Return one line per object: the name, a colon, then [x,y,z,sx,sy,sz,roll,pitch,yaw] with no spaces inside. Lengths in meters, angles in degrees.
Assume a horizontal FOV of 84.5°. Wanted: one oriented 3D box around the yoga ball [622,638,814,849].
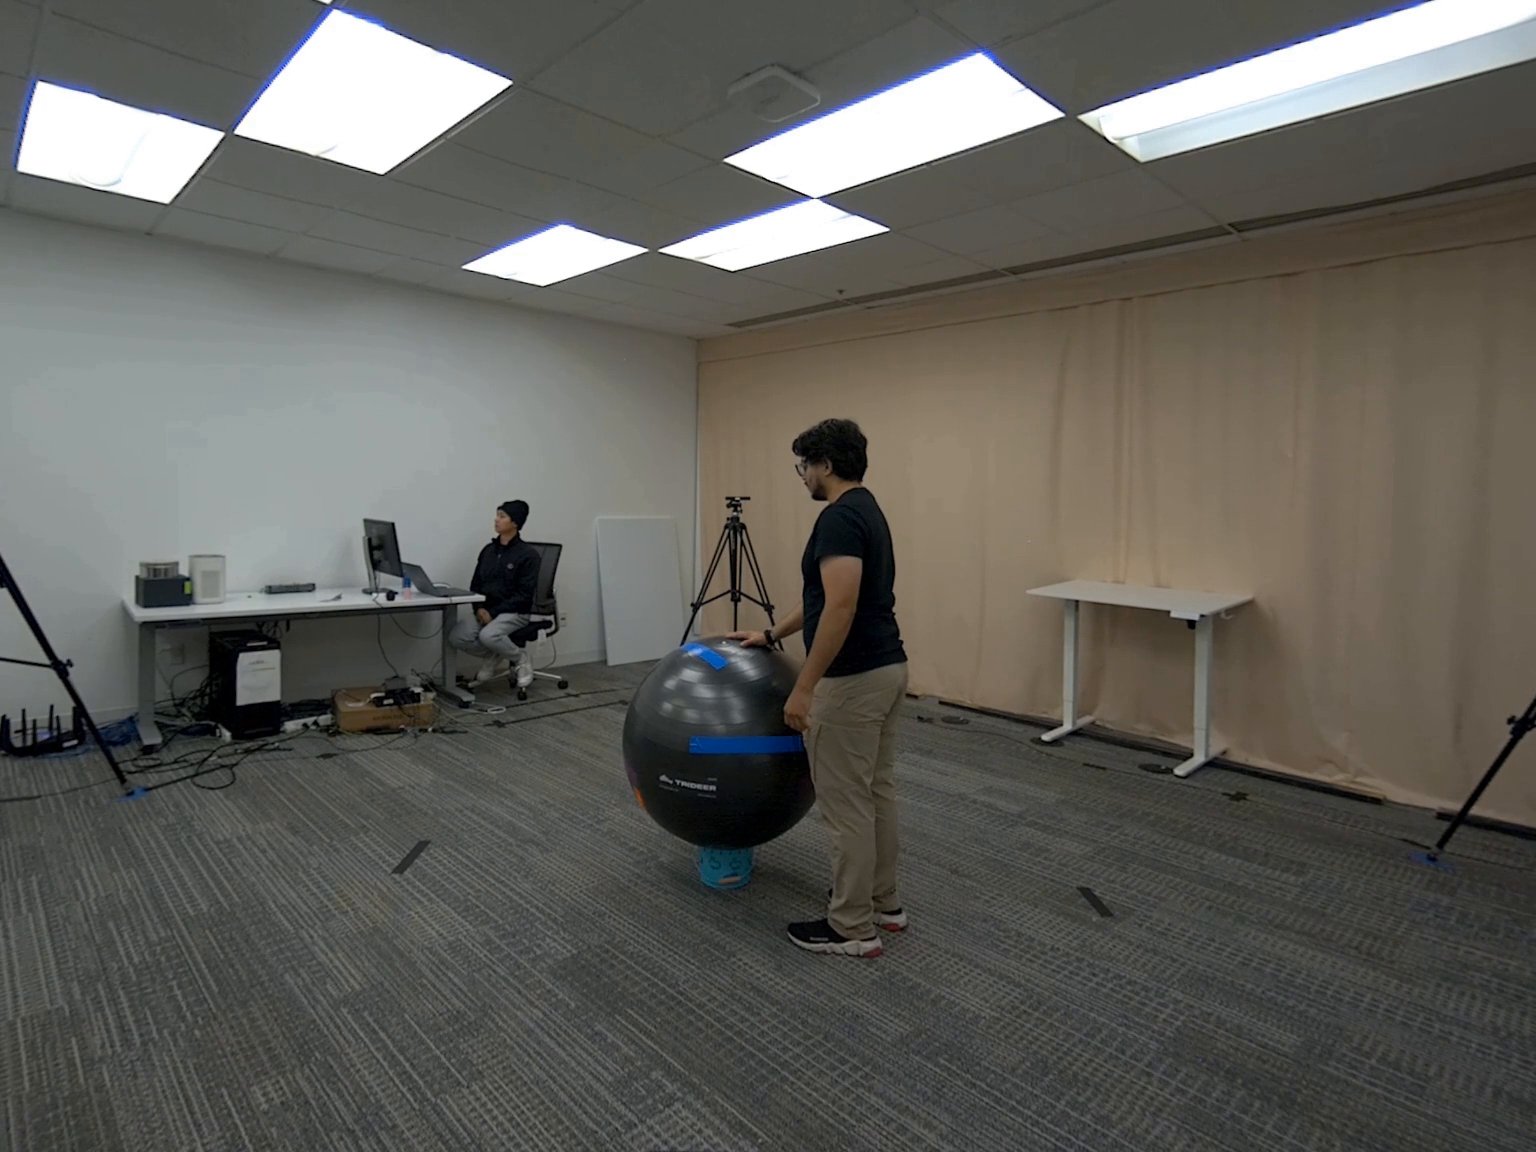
yoga ball: [-0.154,0.602,3.053,0.757,0.756,0.760,1,4,-1]
